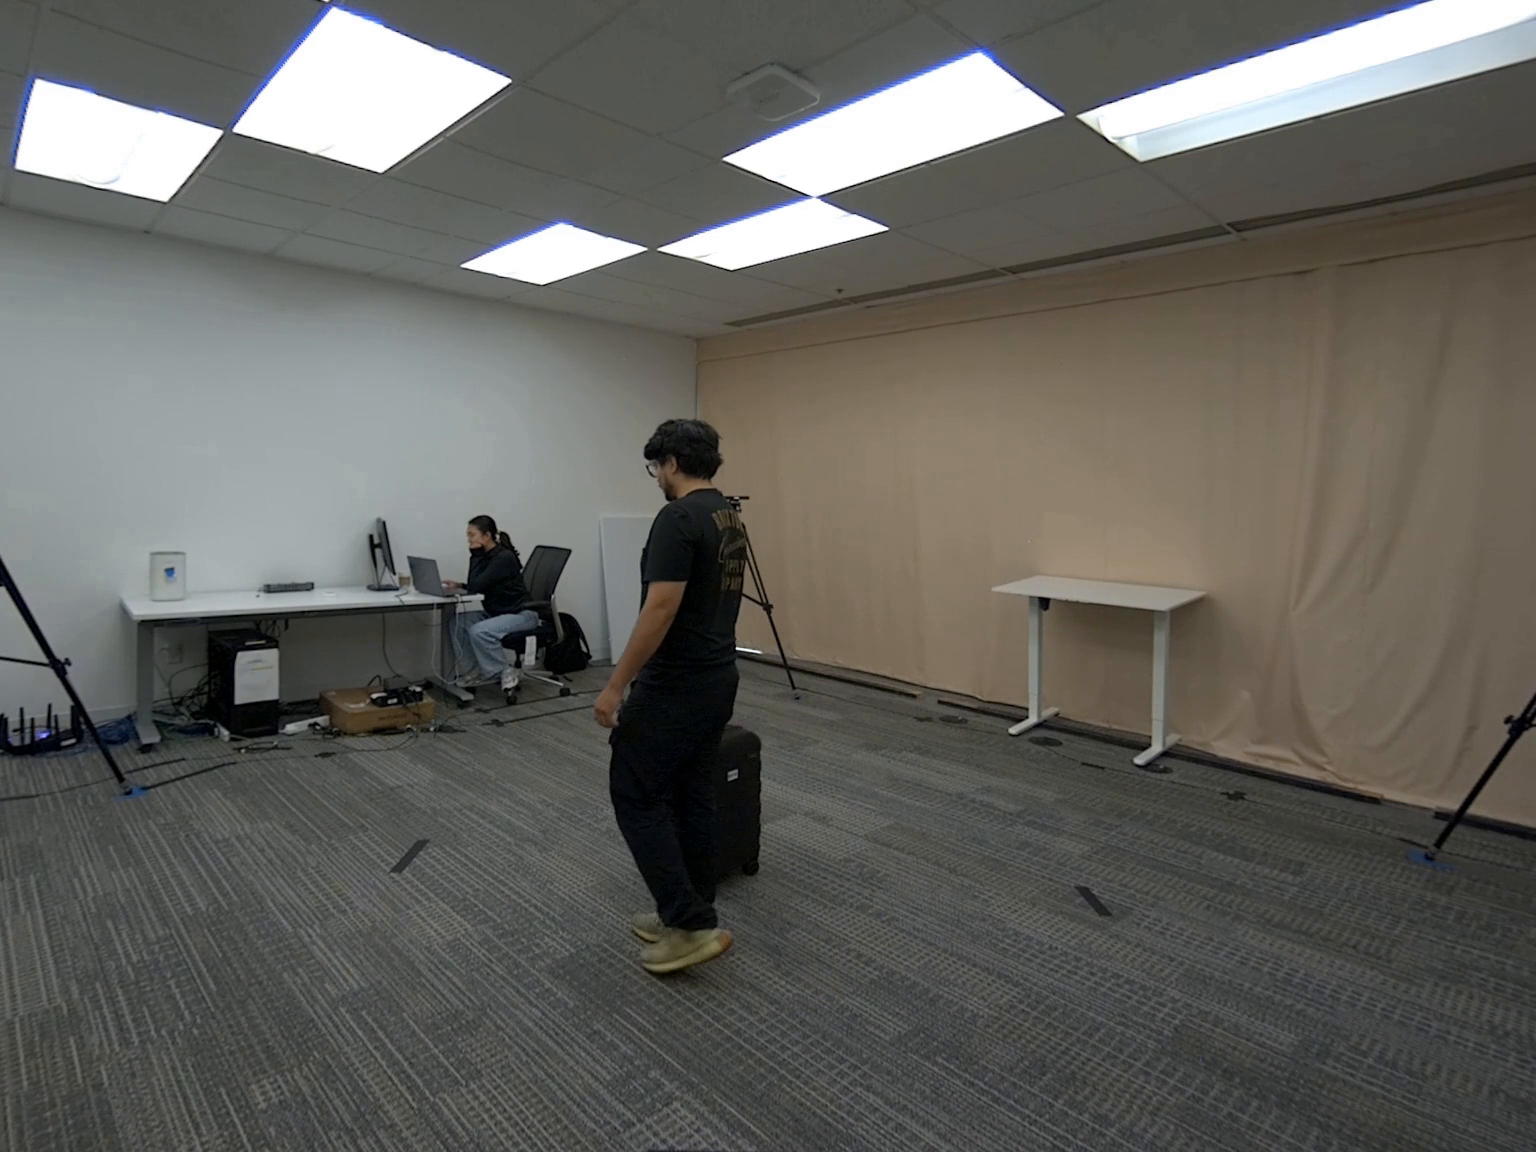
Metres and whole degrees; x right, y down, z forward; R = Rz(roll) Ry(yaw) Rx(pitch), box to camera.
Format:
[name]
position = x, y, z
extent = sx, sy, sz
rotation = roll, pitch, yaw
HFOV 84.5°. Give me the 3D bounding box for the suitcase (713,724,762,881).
[suitcase]
position = -0.207, 0.627, 3.069
extent = 0.264, 0.976, 0.375
rotation = 7, 5, 40
